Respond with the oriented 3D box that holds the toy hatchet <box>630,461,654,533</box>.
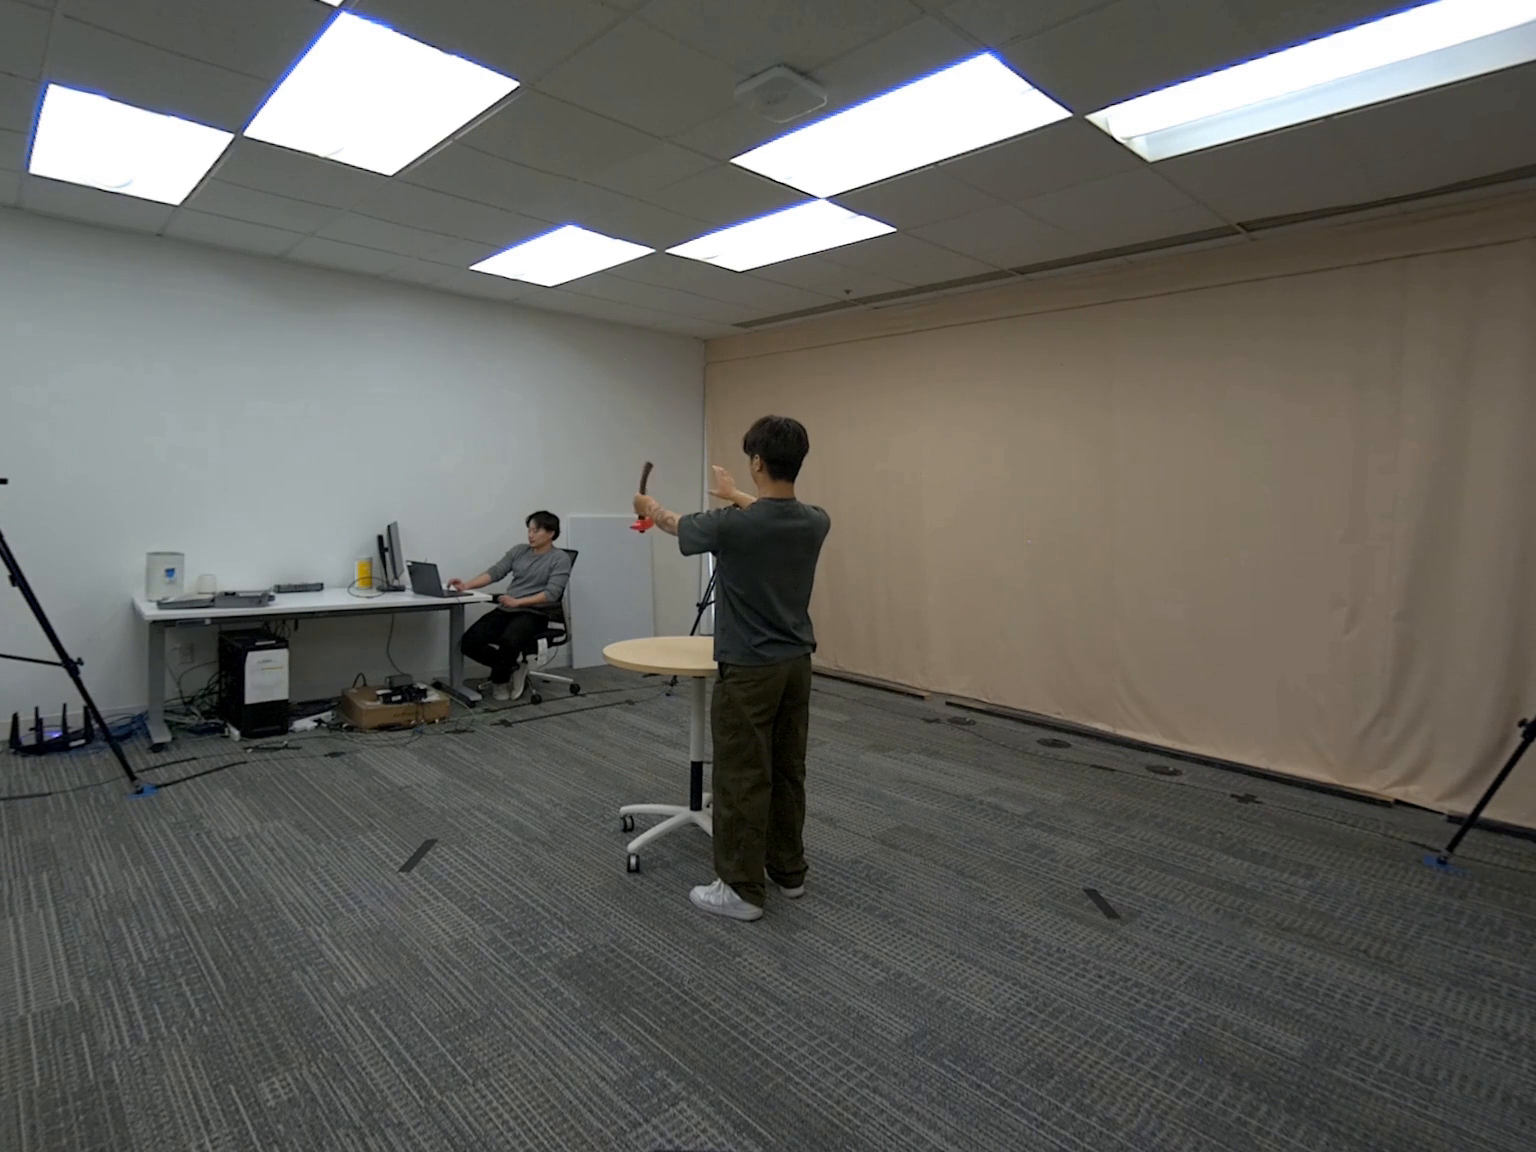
[{"bbox_3d":[-0.459,-0.298,3.248,0.030,0.270,0.127,10,-4,37],"label":"toy hatchet"}]
